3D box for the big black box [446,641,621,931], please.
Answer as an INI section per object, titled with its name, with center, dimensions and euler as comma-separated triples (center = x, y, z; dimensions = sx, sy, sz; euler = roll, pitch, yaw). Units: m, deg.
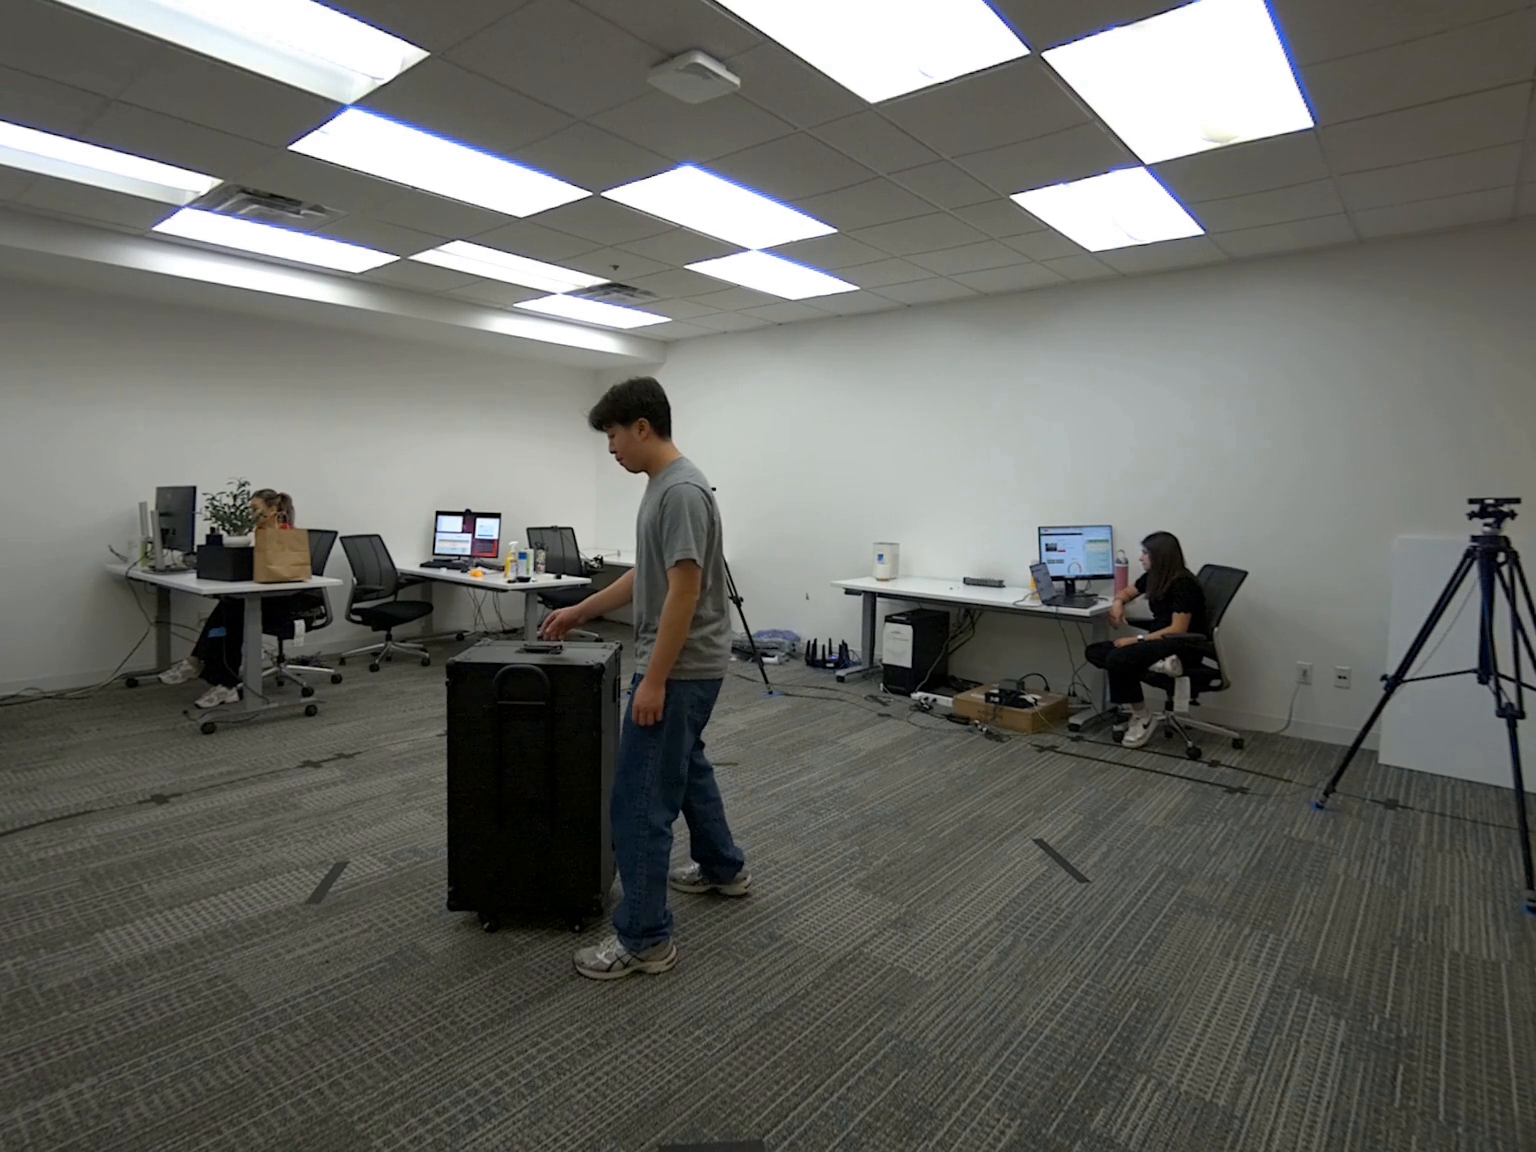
[big black box]
center = -0.757, 0.670, 2.756
dimensions = 0.523, 0.858, 0.397
euler = 1, 4, 2
